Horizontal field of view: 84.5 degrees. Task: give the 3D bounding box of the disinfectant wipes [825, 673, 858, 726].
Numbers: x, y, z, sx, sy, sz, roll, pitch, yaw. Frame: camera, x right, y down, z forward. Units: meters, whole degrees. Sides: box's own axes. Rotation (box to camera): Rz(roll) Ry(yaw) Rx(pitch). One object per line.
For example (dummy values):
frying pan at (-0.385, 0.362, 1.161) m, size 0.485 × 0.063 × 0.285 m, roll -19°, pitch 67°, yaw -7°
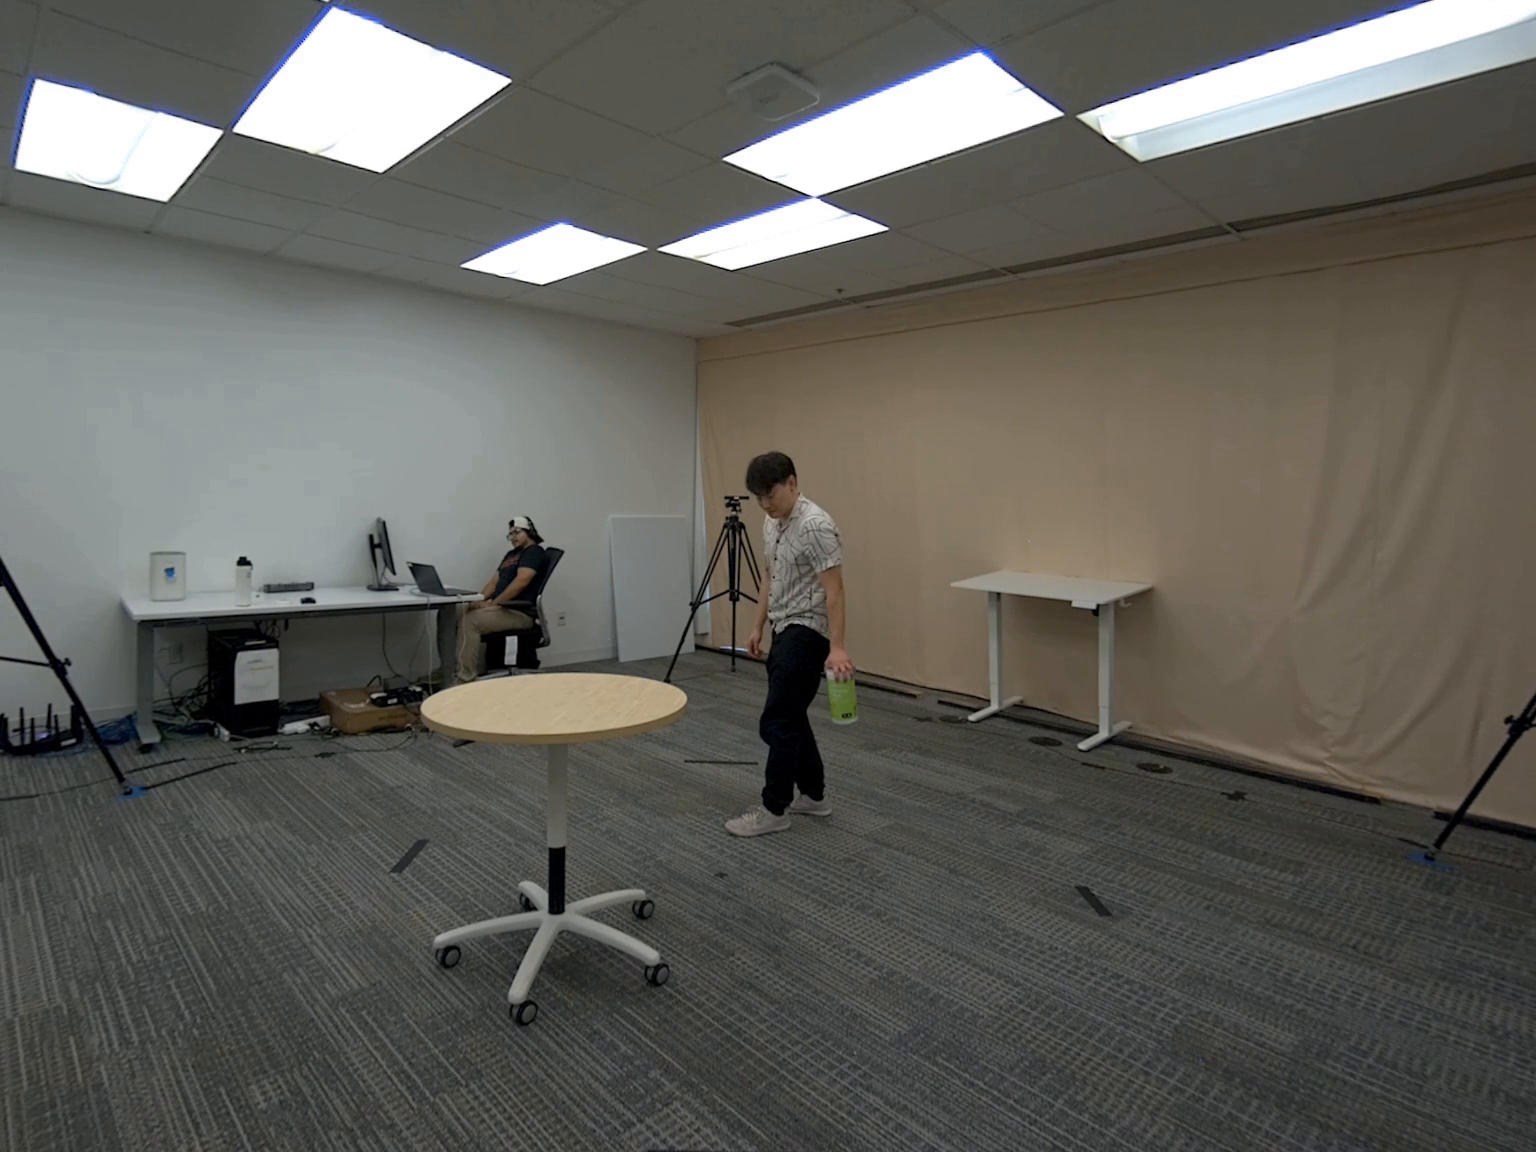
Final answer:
disinfectant wipes at (0.284, 0.483, 3.391) m, size 0.118 × 0.216 × 0.118 m, roll -6°, pitch 9°, yaw 0°
